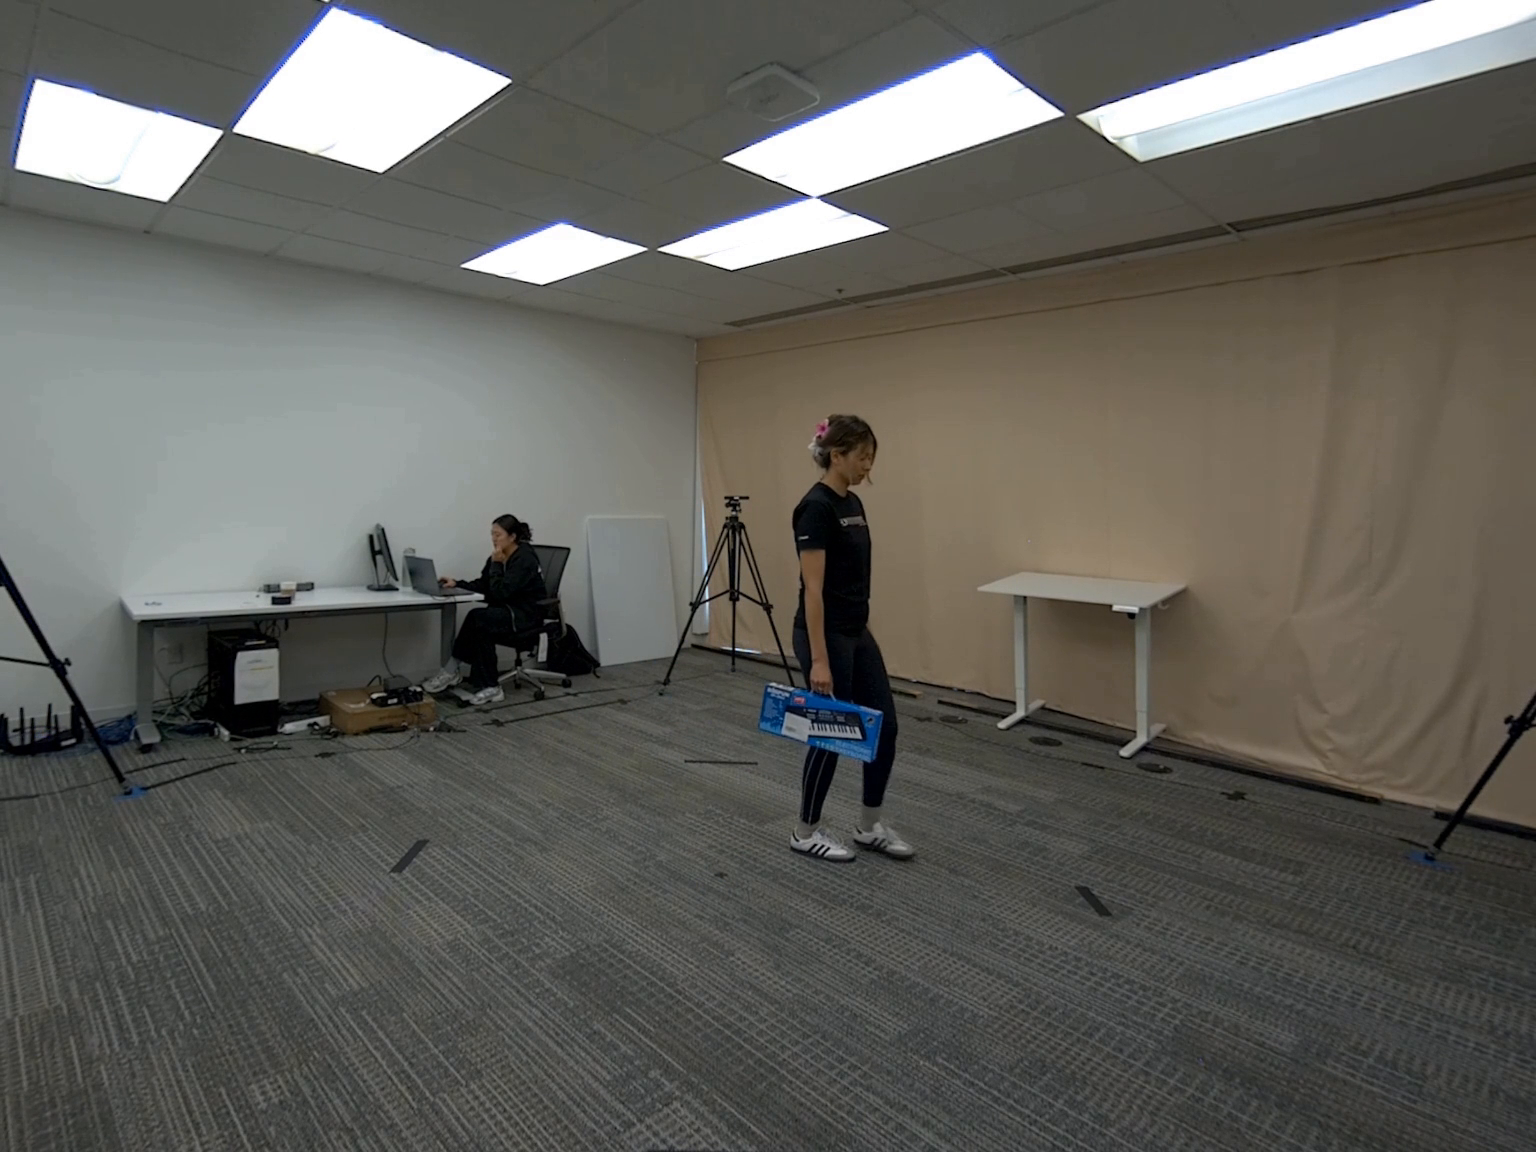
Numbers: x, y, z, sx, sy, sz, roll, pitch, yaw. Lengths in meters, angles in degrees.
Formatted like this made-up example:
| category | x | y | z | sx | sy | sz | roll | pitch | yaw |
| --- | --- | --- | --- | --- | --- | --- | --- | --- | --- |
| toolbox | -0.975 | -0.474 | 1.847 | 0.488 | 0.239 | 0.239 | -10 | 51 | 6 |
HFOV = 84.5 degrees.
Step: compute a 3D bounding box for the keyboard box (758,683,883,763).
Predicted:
| category | x | y | z | sx | sy | sz | roll | pitch | yaw |
| --- | --- | --- | --- | --- | --- | --- | --- | --- | --- |
| keyboard box | 0.178 | 0.522 | 3.018 | 0.446 | 0.175 | 0.058 | 12 | 6 | 25 |
